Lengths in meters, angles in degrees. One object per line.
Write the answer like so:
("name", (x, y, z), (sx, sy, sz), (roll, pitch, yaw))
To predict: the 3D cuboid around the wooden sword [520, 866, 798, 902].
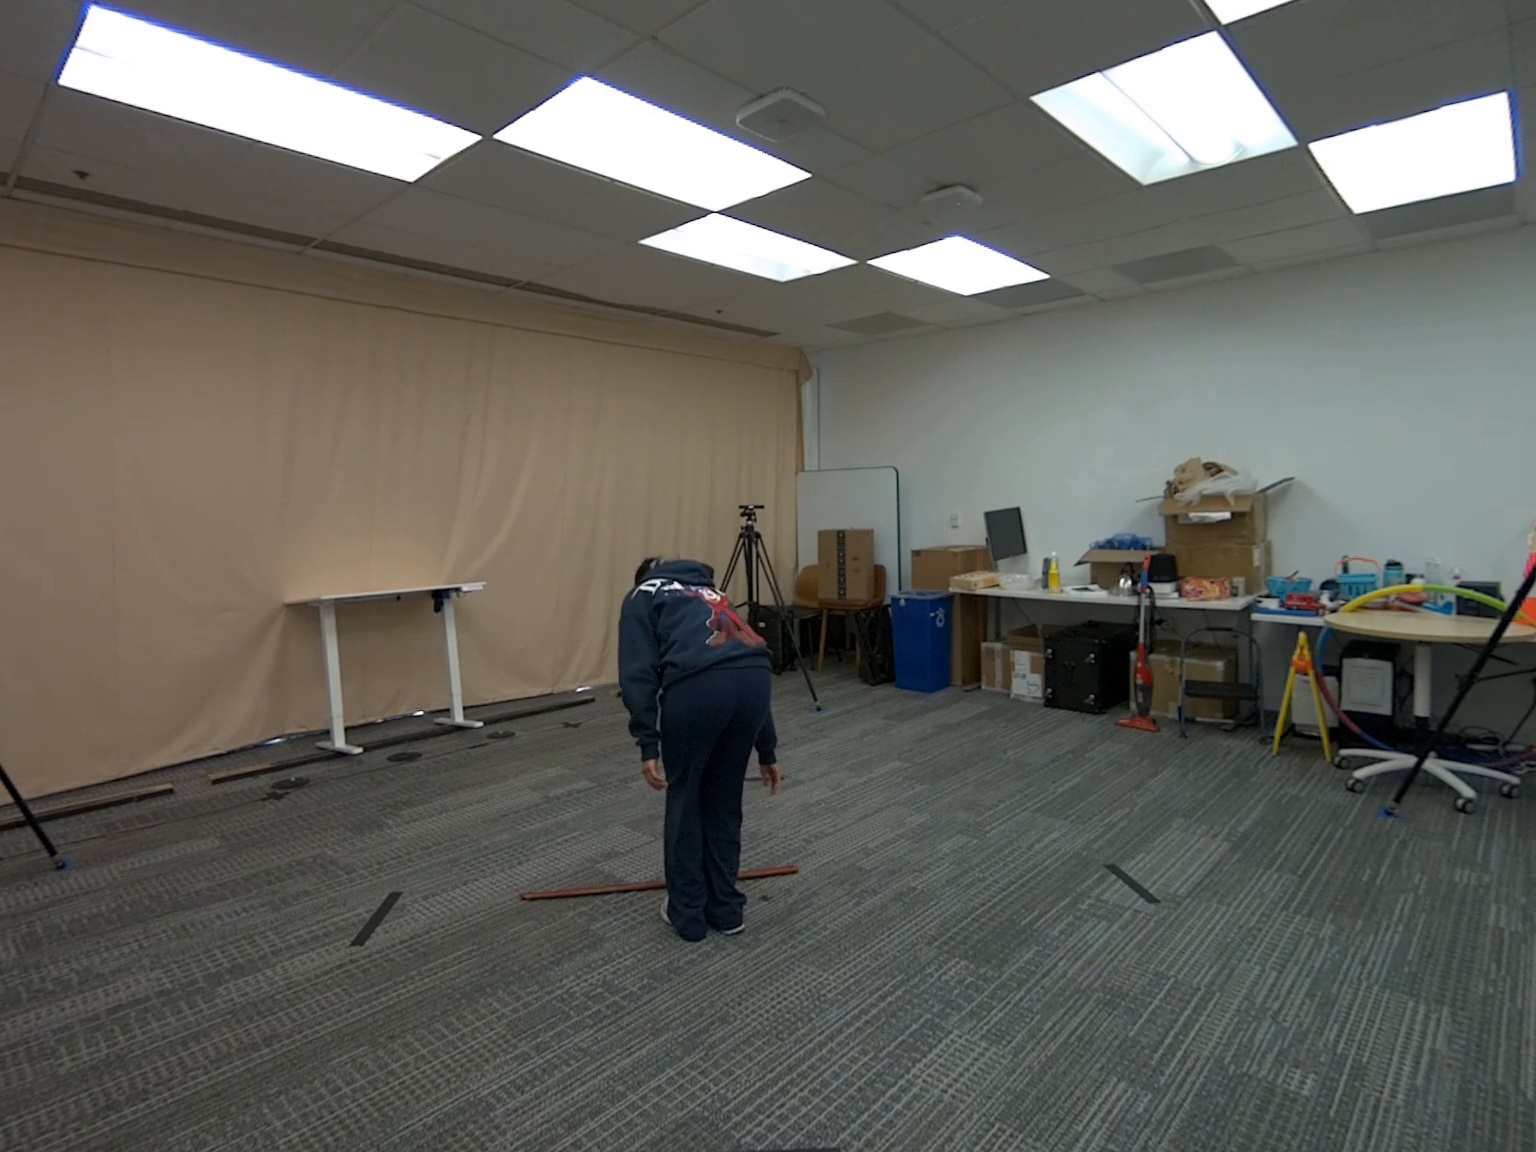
("wooden sword", (-0.387, 1.118, 3.090), (1.014, 0.024, 0.051), (-1, -5, -10))
